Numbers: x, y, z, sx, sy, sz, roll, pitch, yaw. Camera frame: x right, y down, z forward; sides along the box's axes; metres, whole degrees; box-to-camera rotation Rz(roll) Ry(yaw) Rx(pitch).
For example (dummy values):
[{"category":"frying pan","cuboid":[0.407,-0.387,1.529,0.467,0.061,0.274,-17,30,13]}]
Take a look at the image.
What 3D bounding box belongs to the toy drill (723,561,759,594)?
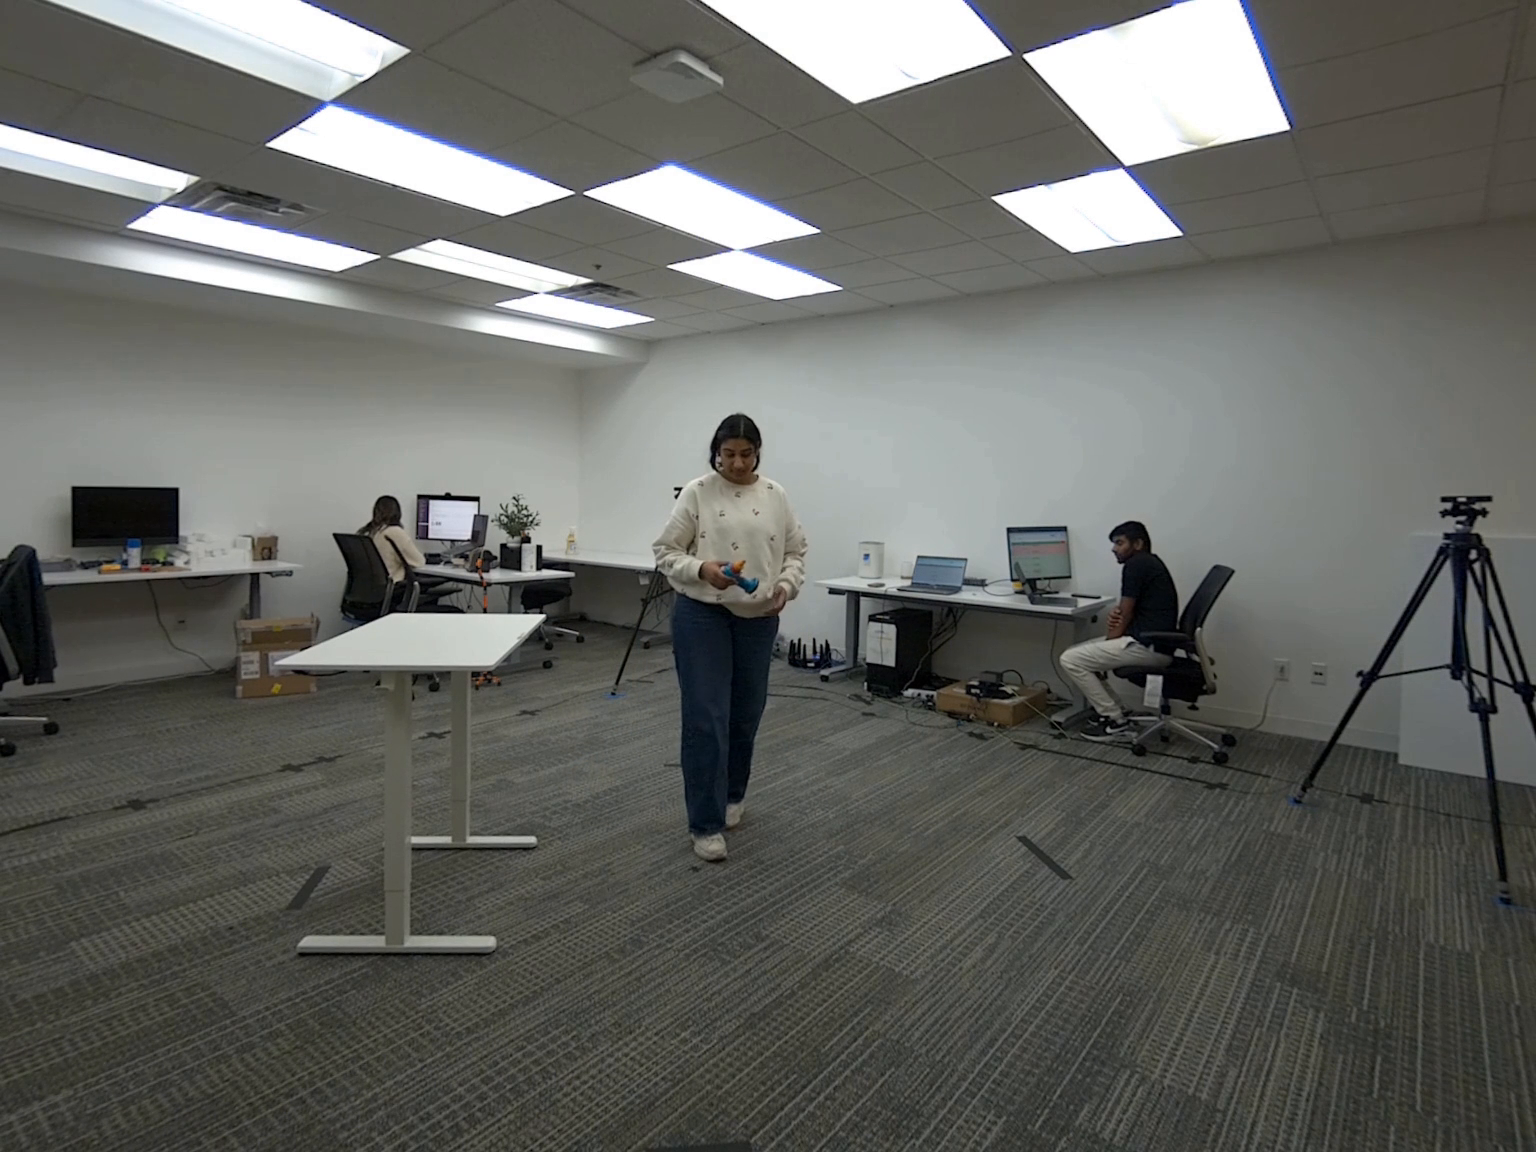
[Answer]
[{"category":"toy drill","cuboid":[-0.110,-0.006,3.119,0.143,0.062,0.170,25,-40,-18]}]
